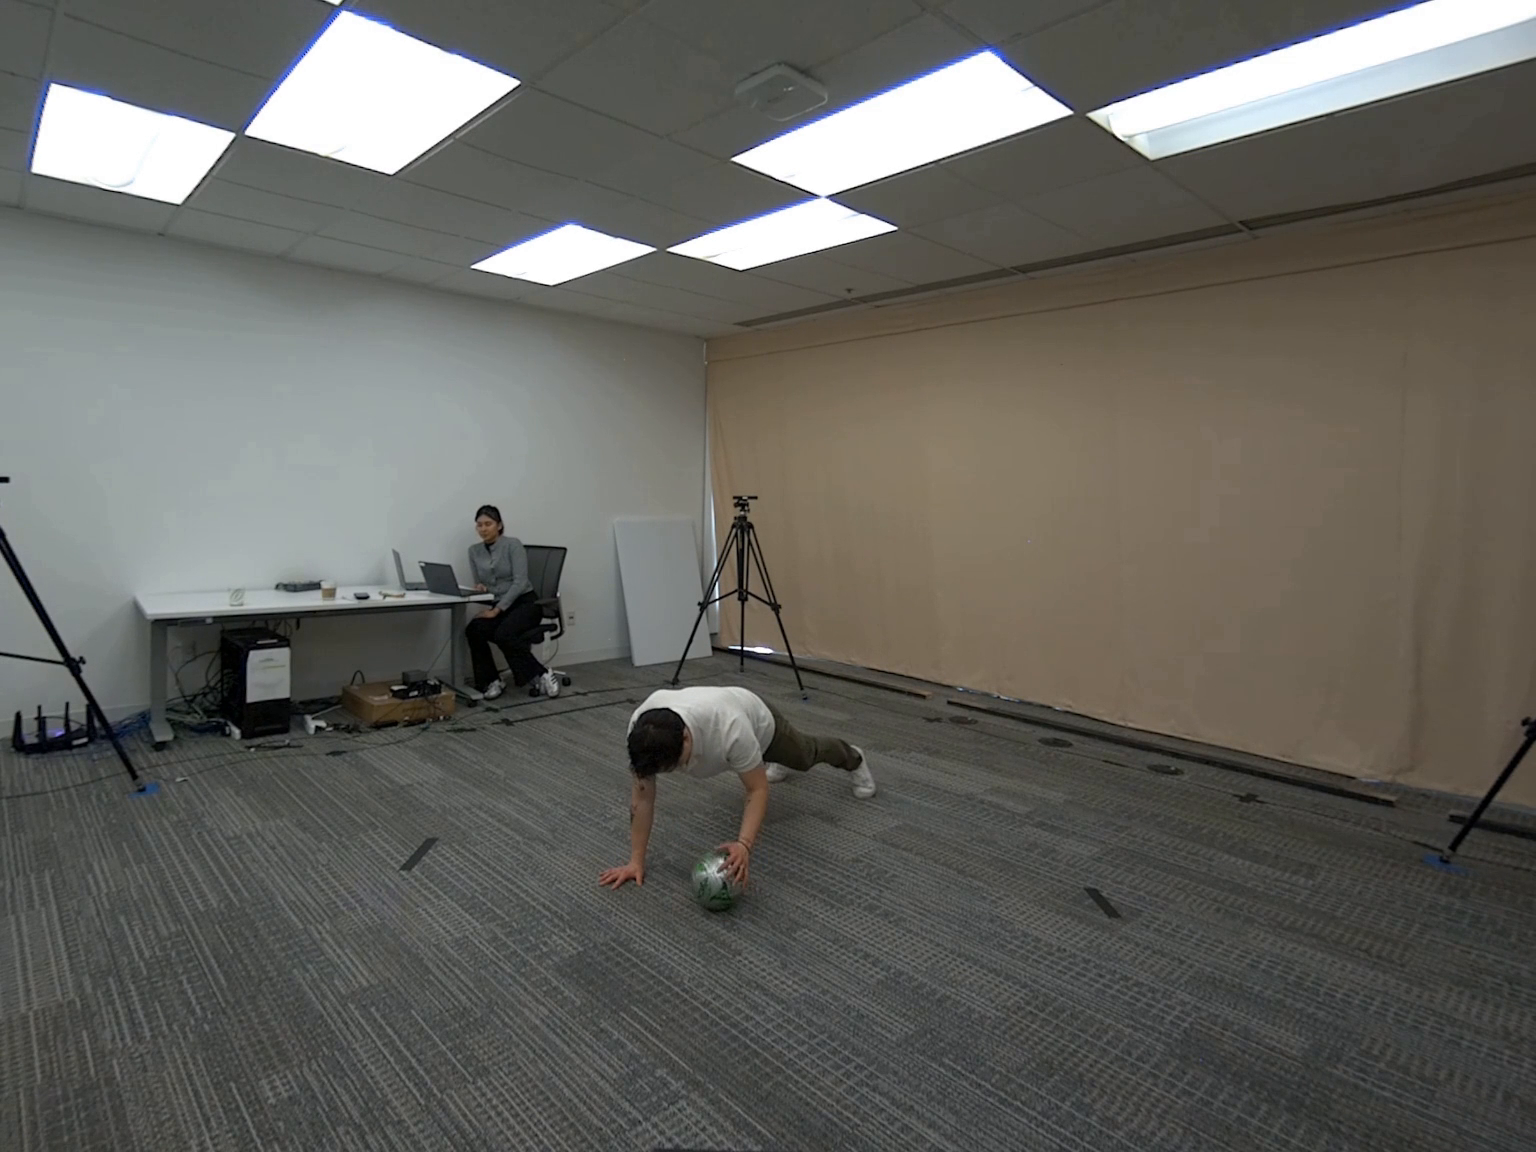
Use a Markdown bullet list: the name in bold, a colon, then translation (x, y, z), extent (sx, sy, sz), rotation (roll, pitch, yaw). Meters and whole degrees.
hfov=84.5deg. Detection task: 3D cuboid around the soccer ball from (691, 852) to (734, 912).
- **soccer ball**: translation (-0.199, 1.033, 2.857), extent (0.187, 0.187, 0.188), rotation (1, 4, -1)
